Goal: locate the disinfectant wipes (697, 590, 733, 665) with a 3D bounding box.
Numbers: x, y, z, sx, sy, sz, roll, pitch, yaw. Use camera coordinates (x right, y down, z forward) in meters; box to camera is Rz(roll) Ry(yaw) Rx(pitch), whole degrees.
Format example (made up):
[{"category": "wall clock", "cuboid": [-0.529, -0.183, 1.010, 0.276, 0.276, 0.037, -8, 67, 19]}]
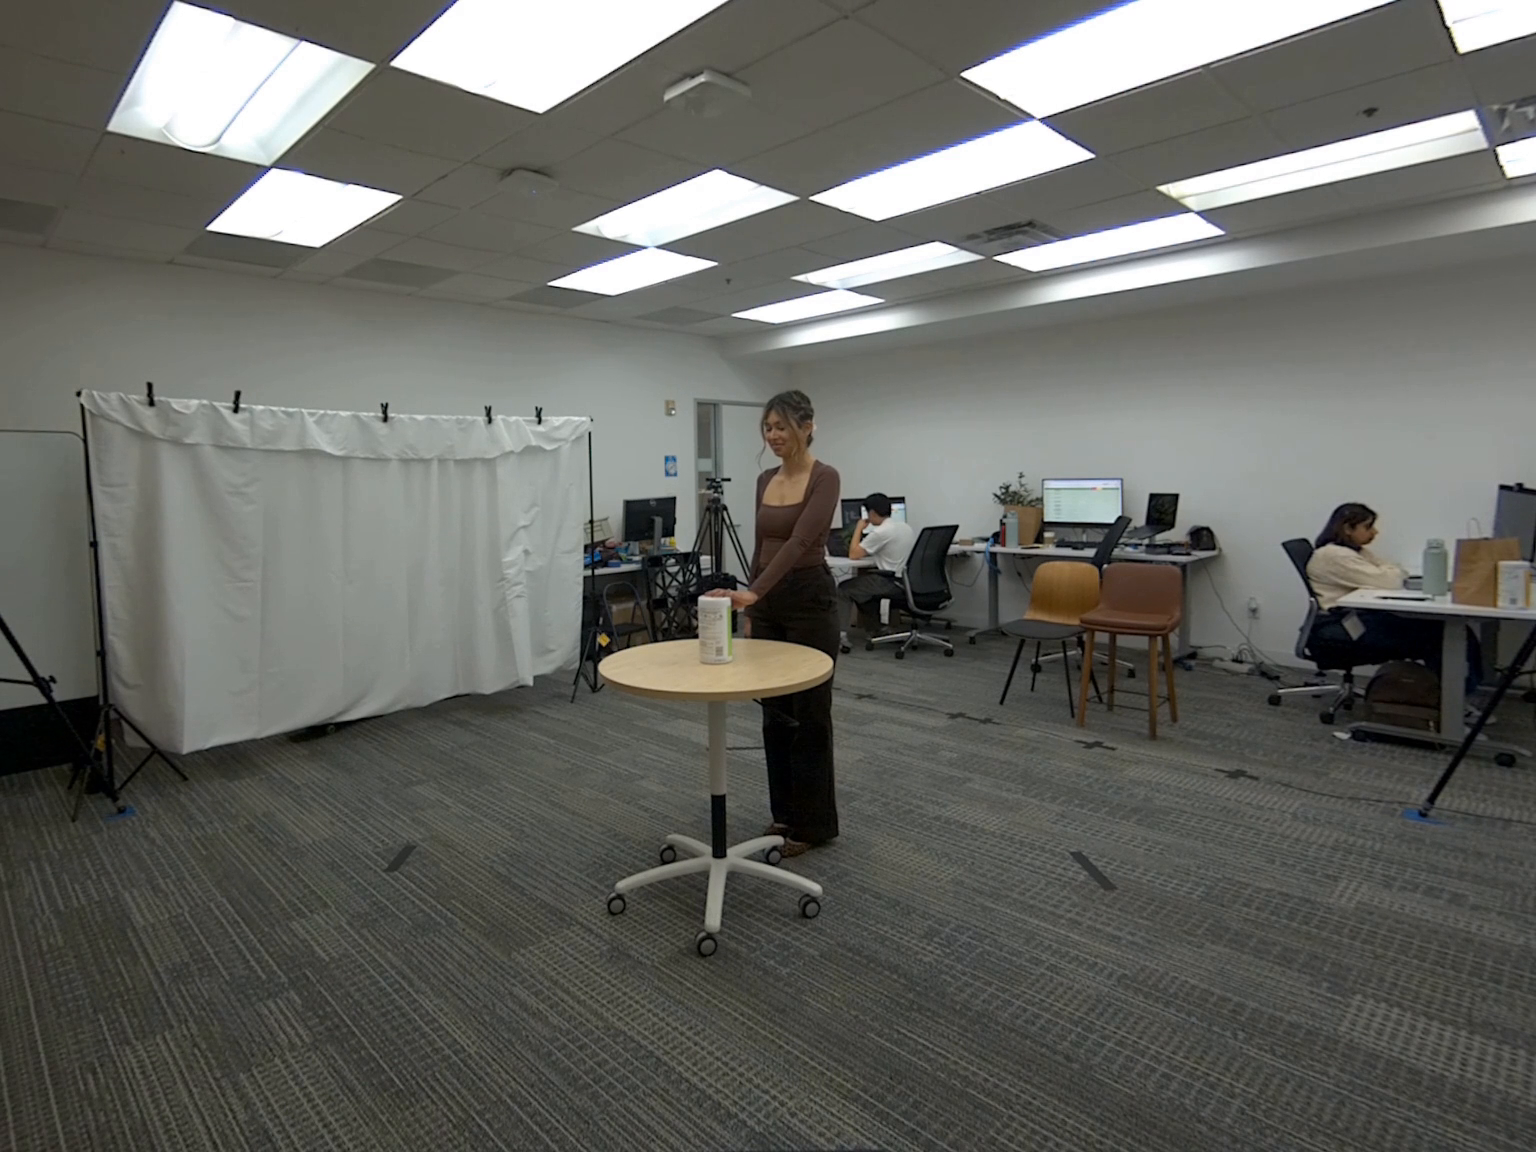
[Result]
[{"category": "disinfectant wipes", "cuboid": [-0.169, 0.176, 2.803, 0.118, 0.217, 0.118, 0, 3, -2]}]
